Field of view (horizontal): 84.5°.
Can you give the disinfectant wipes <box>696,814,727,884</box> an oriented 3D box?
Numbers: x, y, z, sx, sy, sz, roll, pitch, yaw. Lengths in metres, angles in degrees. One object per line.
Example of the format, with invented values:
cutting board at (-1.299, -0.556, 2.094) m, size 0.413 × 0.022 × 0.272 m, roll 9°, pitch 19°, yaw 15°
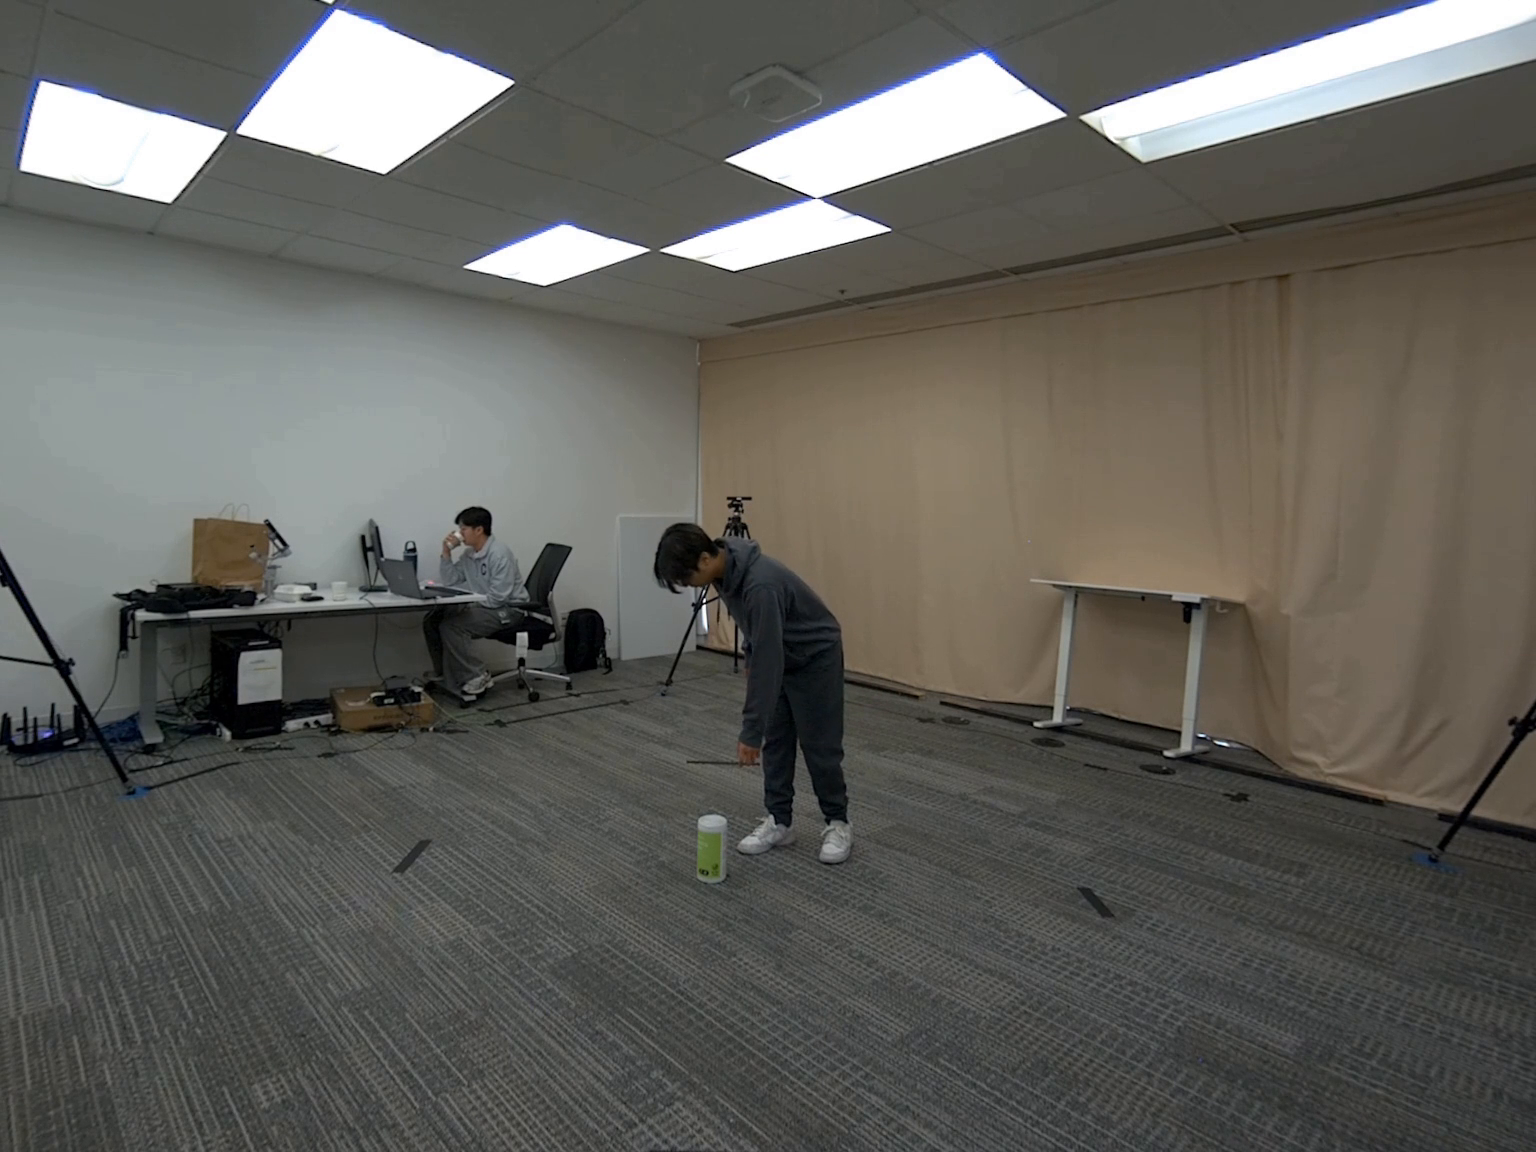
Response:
disinfectant wipes at (-0.208, 0.999, 3.085) m, size 0.118 × 0.217 × 0.118 m, roll 1°, pitch 3°, yaw -1°
